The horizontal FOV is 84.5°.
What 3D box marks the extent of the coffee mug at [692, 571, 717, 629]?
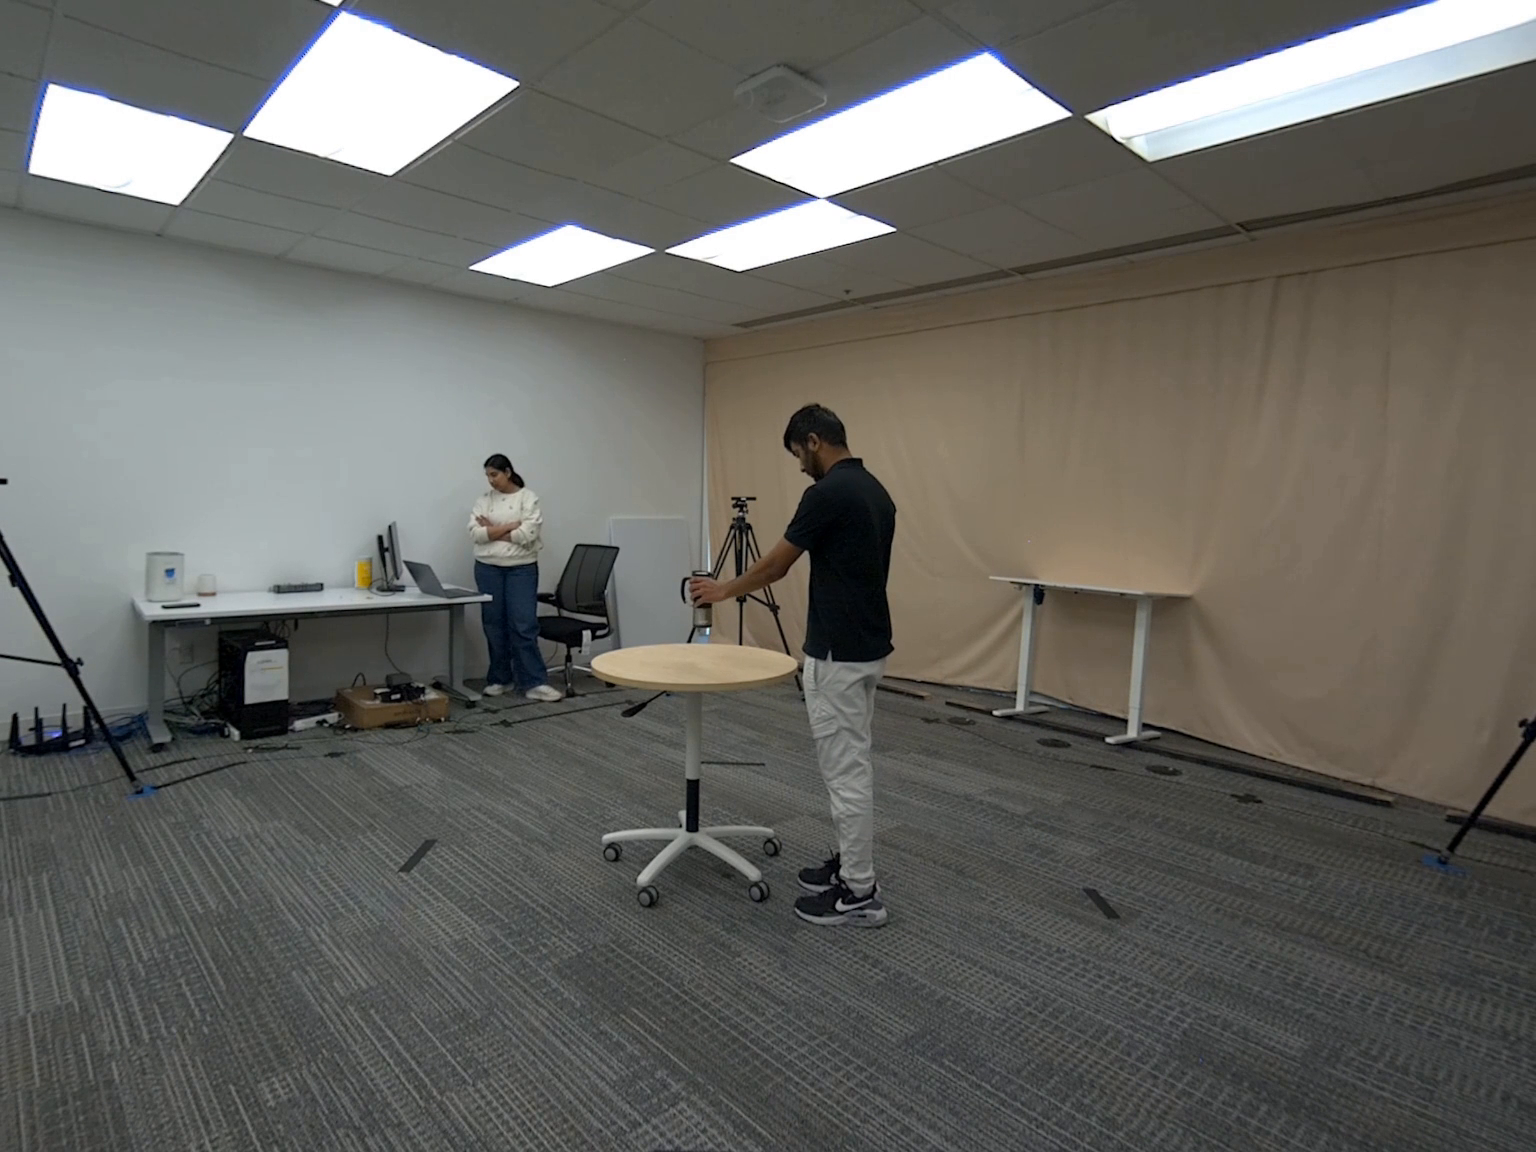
[{"bbox_3d":[-0.258,0.087,3.097,0.124,0.202,0.087,5,5,17],"label":"coffee mug"}]
